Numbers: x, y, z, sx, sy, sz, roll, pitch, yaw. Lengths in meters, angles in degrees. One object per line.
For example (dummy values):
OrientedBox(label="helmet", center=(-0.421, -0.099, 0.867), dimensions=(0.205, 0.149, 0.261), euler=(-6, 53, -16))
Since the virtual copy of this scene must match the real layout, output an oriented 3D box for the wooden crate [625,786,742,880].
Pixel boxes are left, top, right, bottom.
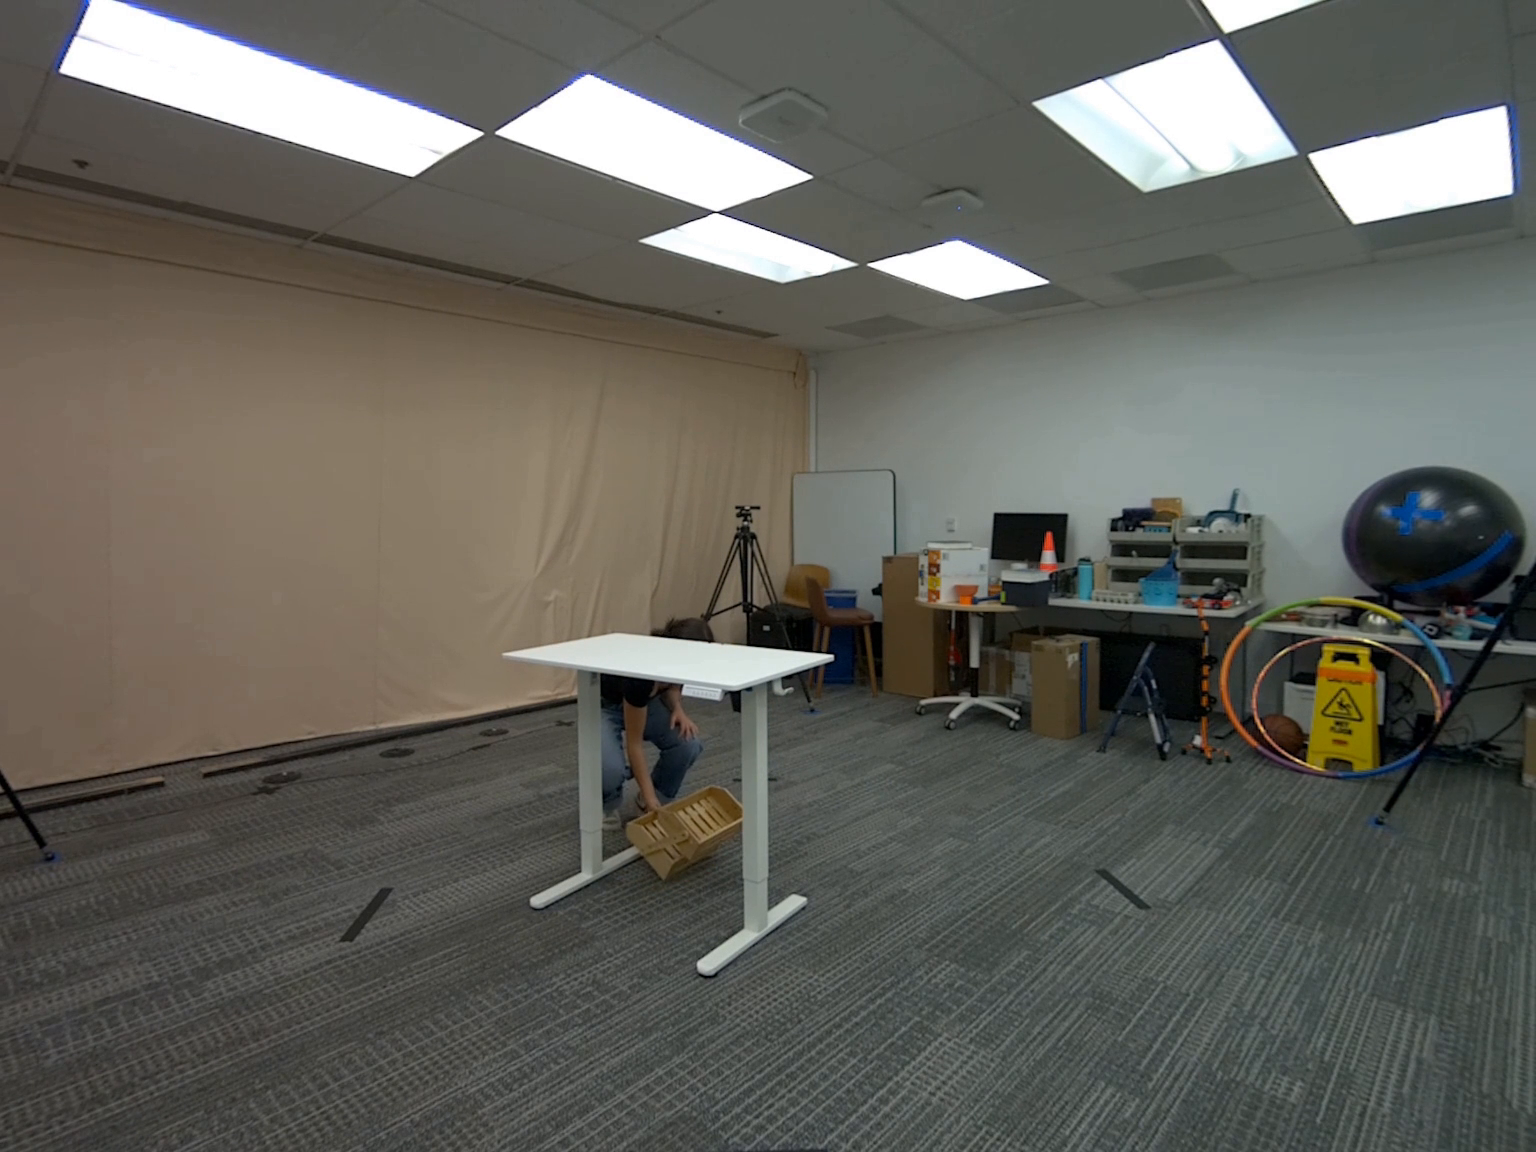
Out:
OrientedBox(label="wooden crate", center=(-0.309, 0.947, 3.221), dimensions=(0.311, 0.273, 0.315), euler=(40, 28, 25))
